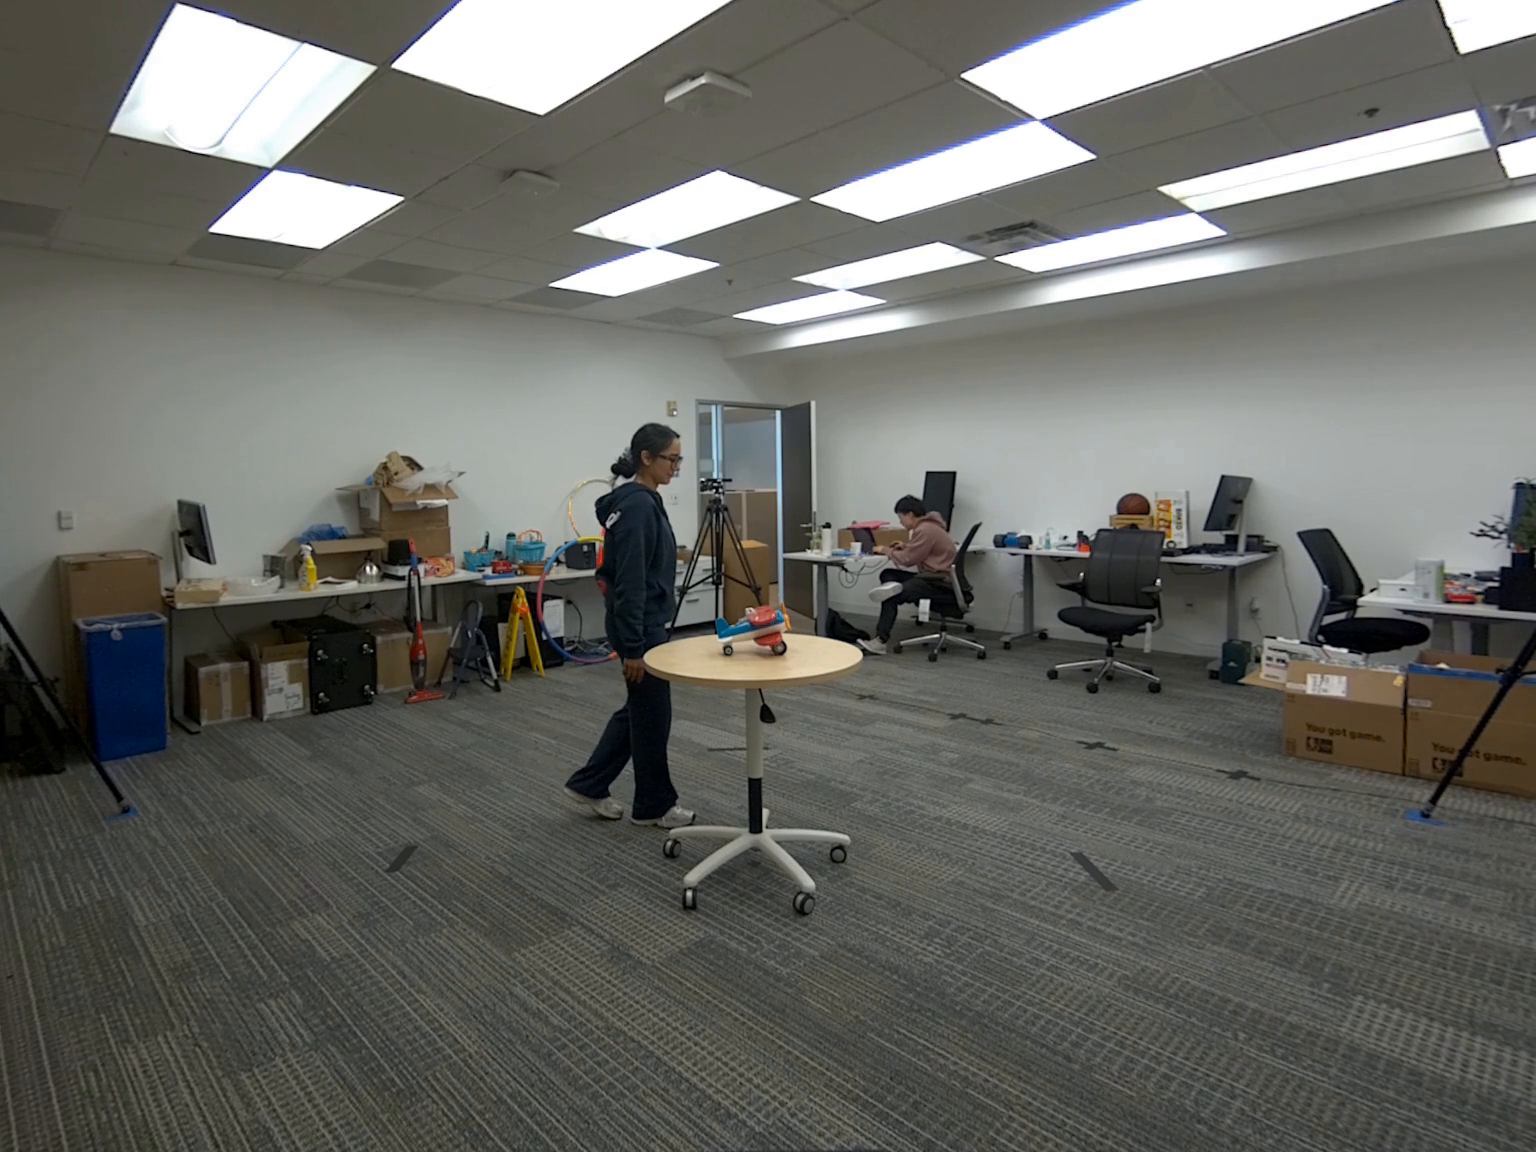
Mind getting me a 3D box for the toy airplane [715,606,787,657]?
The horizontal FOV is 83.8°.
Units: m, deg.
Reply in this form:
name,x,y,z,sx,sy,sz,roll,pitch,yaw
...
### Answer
name,x,y,z,sx,sy,sz,roll,pitch,yaw
toy airplane,-0.048,0.201,2.984,0.253,0.156,0.258,-5,7,-30
